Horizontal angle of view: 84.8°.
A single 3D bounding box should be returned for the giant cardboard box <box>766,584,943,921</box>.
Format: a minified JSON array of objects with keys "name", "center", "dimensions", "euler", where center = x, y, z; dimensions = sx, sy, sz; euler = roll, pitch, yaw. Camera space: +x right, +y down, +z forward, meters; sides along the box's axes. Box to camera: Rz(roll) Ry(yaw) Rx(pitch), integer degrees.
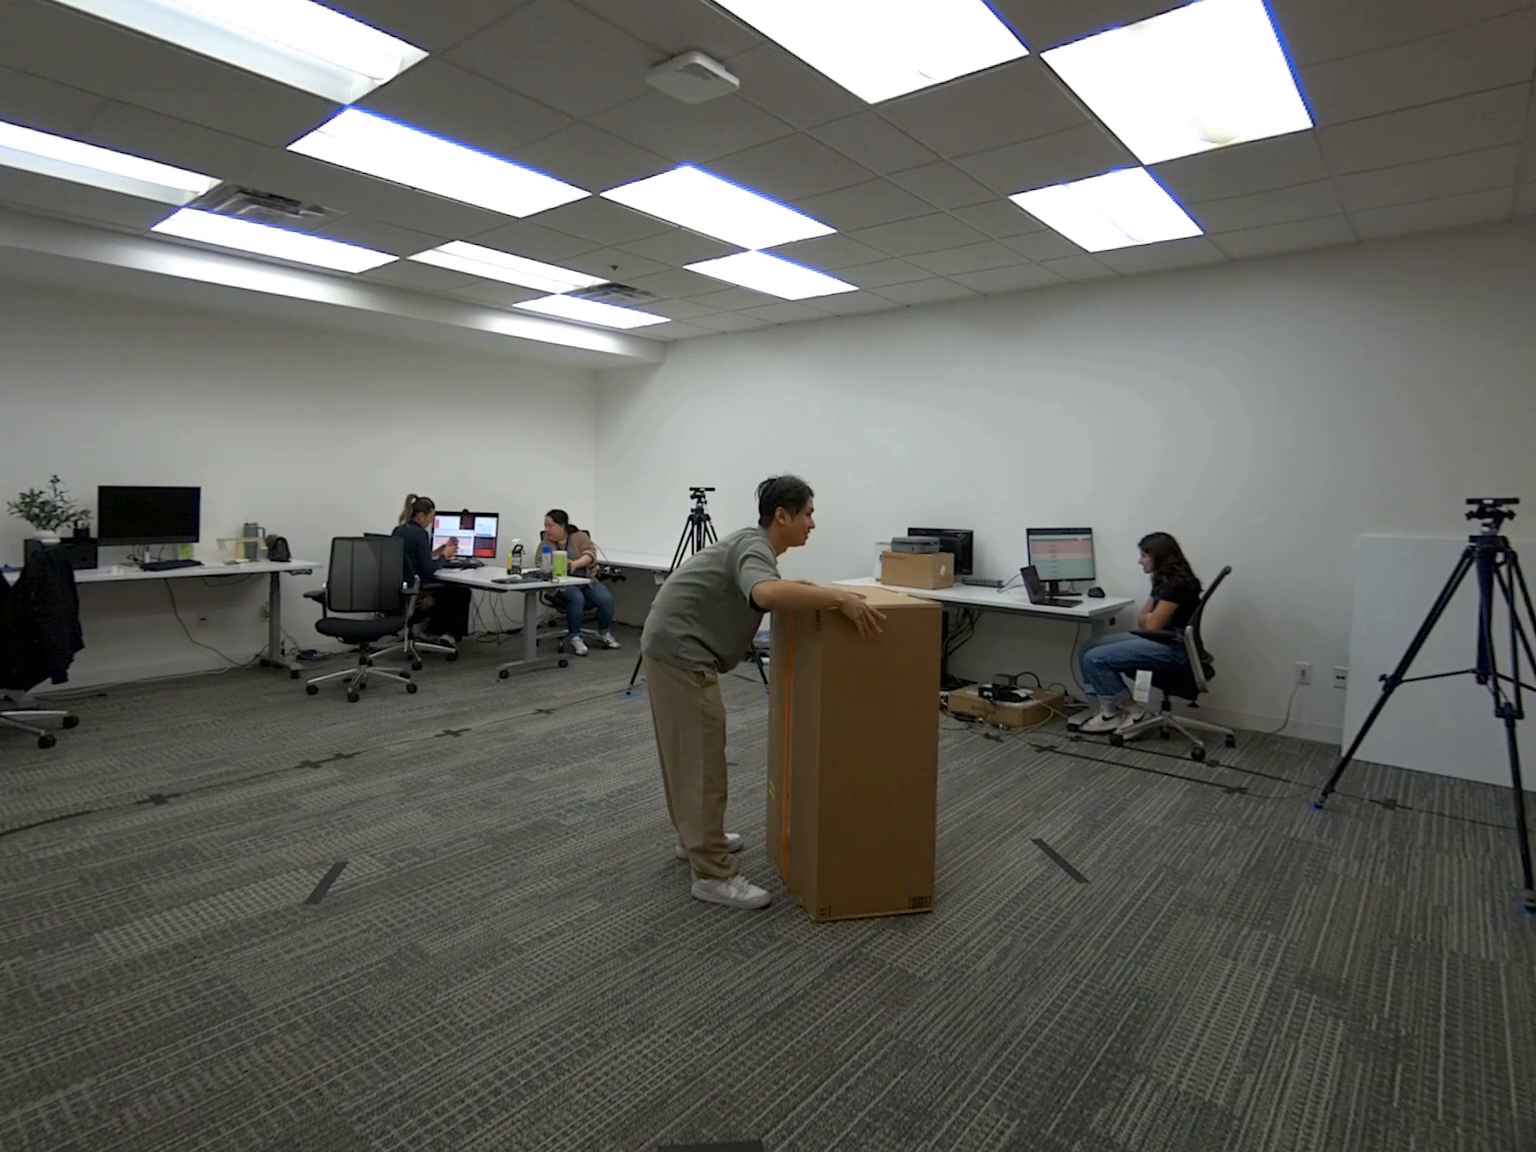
[{"name":"giant cardboard box","center":[0.266,0.573,3.024],"dimensions":[0.420,1.024,0.587],"euler":[0,2,-14]}]
